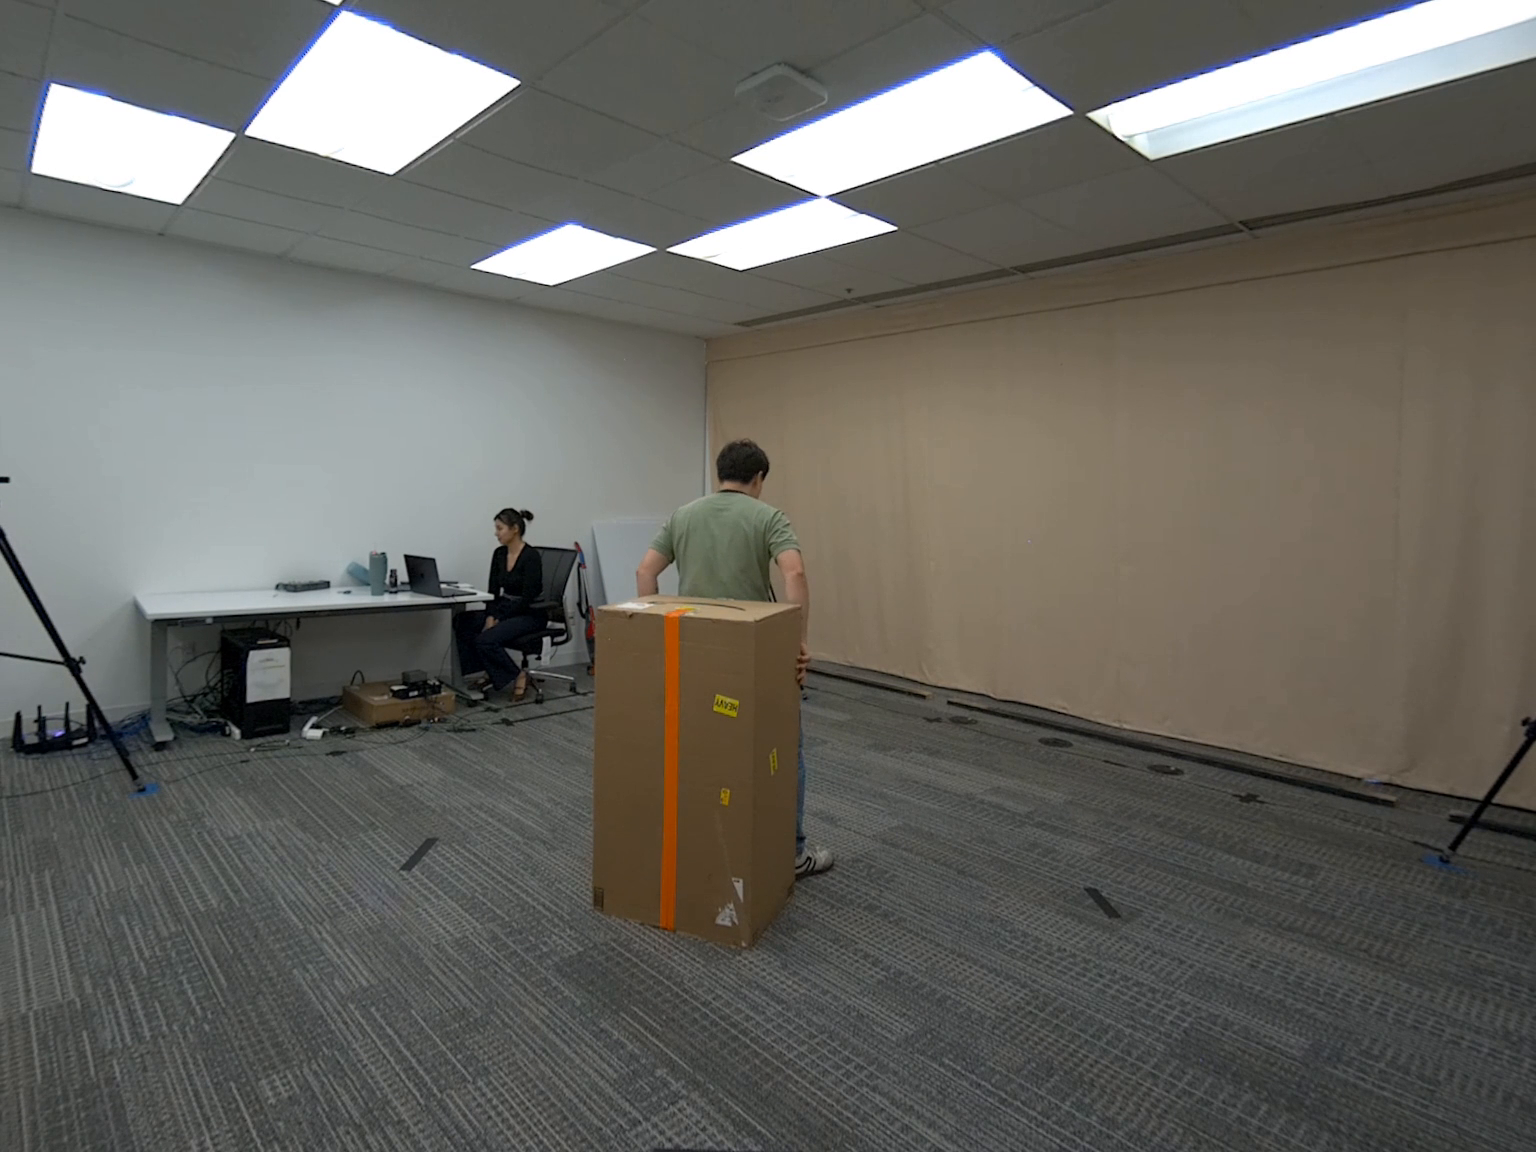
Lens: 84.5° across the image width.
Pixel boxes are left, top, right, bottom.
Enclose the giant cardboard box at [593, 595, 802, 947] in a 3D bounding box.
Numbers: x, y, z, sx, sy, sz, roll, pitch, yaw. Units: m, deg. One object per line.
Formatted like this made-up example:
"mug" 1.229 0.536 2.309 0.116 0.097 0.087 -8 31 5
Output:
"giant cardboard box" -0.243 0.611 2.849 0.588 1.023 0.419 2 4 24
